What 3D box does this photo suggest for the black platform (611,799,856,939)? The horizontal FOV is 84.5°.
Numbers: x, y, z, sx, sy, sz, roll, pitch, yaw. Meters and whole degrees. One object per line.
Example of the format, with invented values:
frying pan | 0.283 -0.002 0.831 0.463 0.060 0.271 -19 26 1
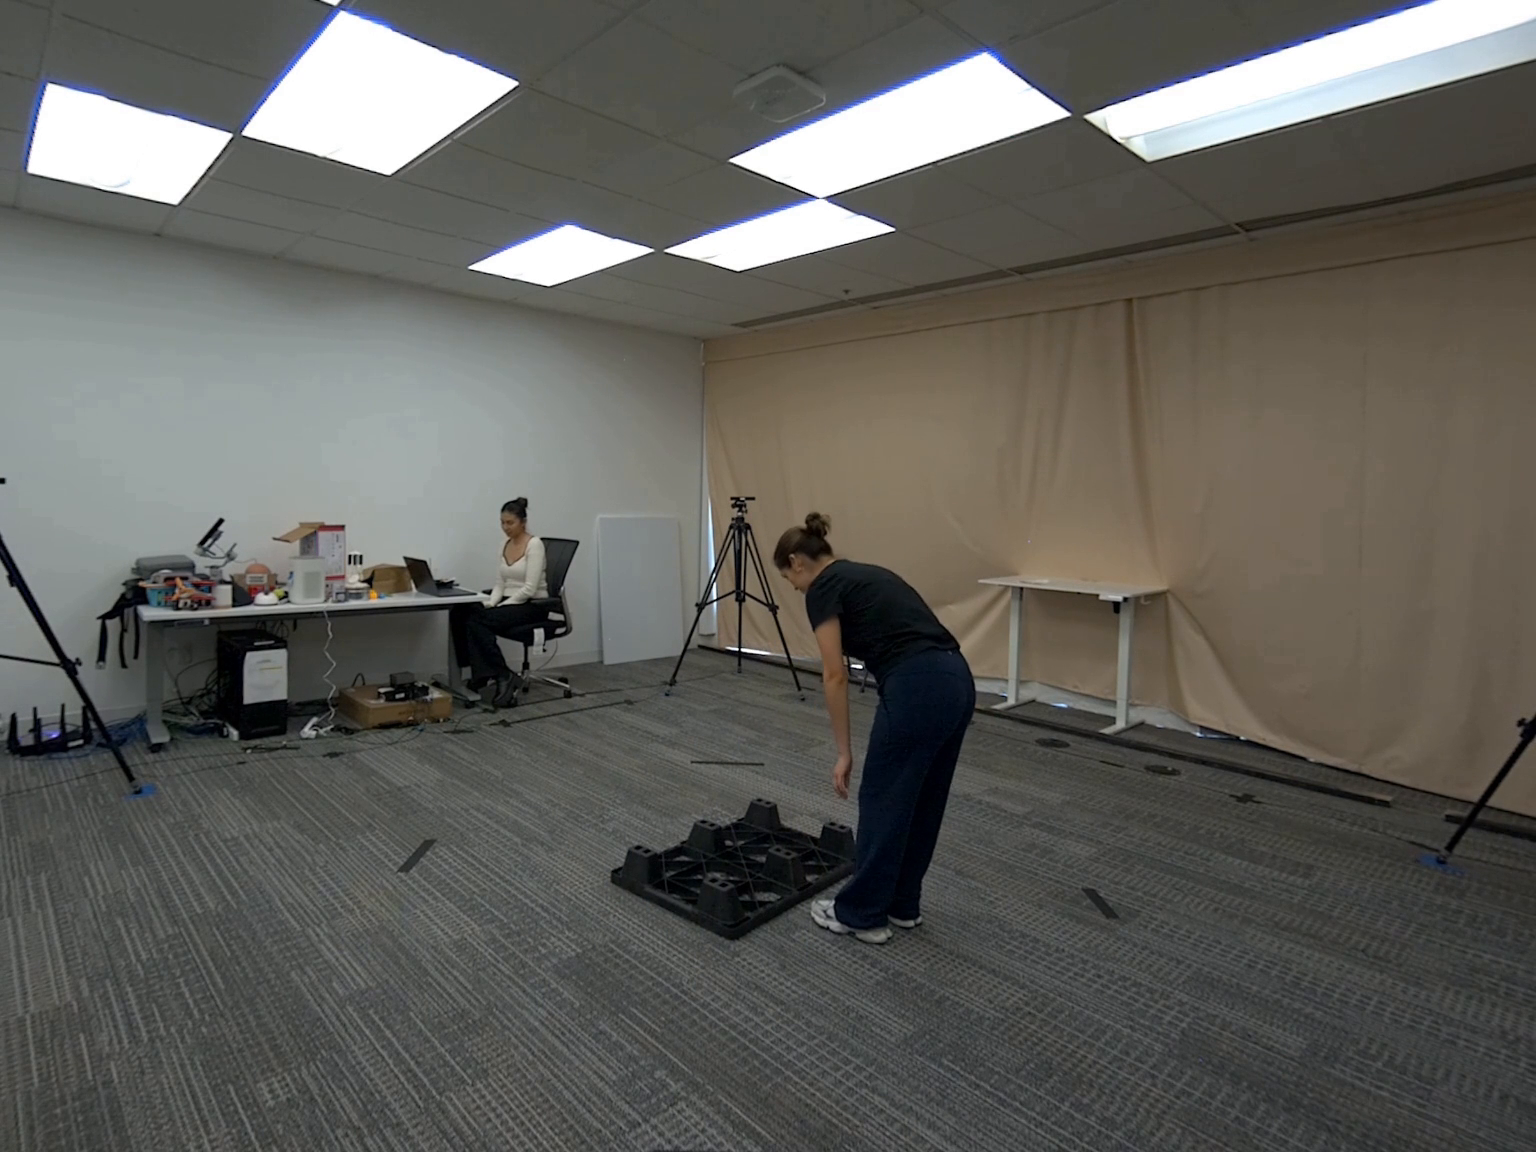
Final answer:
black platform | -0.094 1.041 3.110 0.620 0.143 0.788 5 7 40
